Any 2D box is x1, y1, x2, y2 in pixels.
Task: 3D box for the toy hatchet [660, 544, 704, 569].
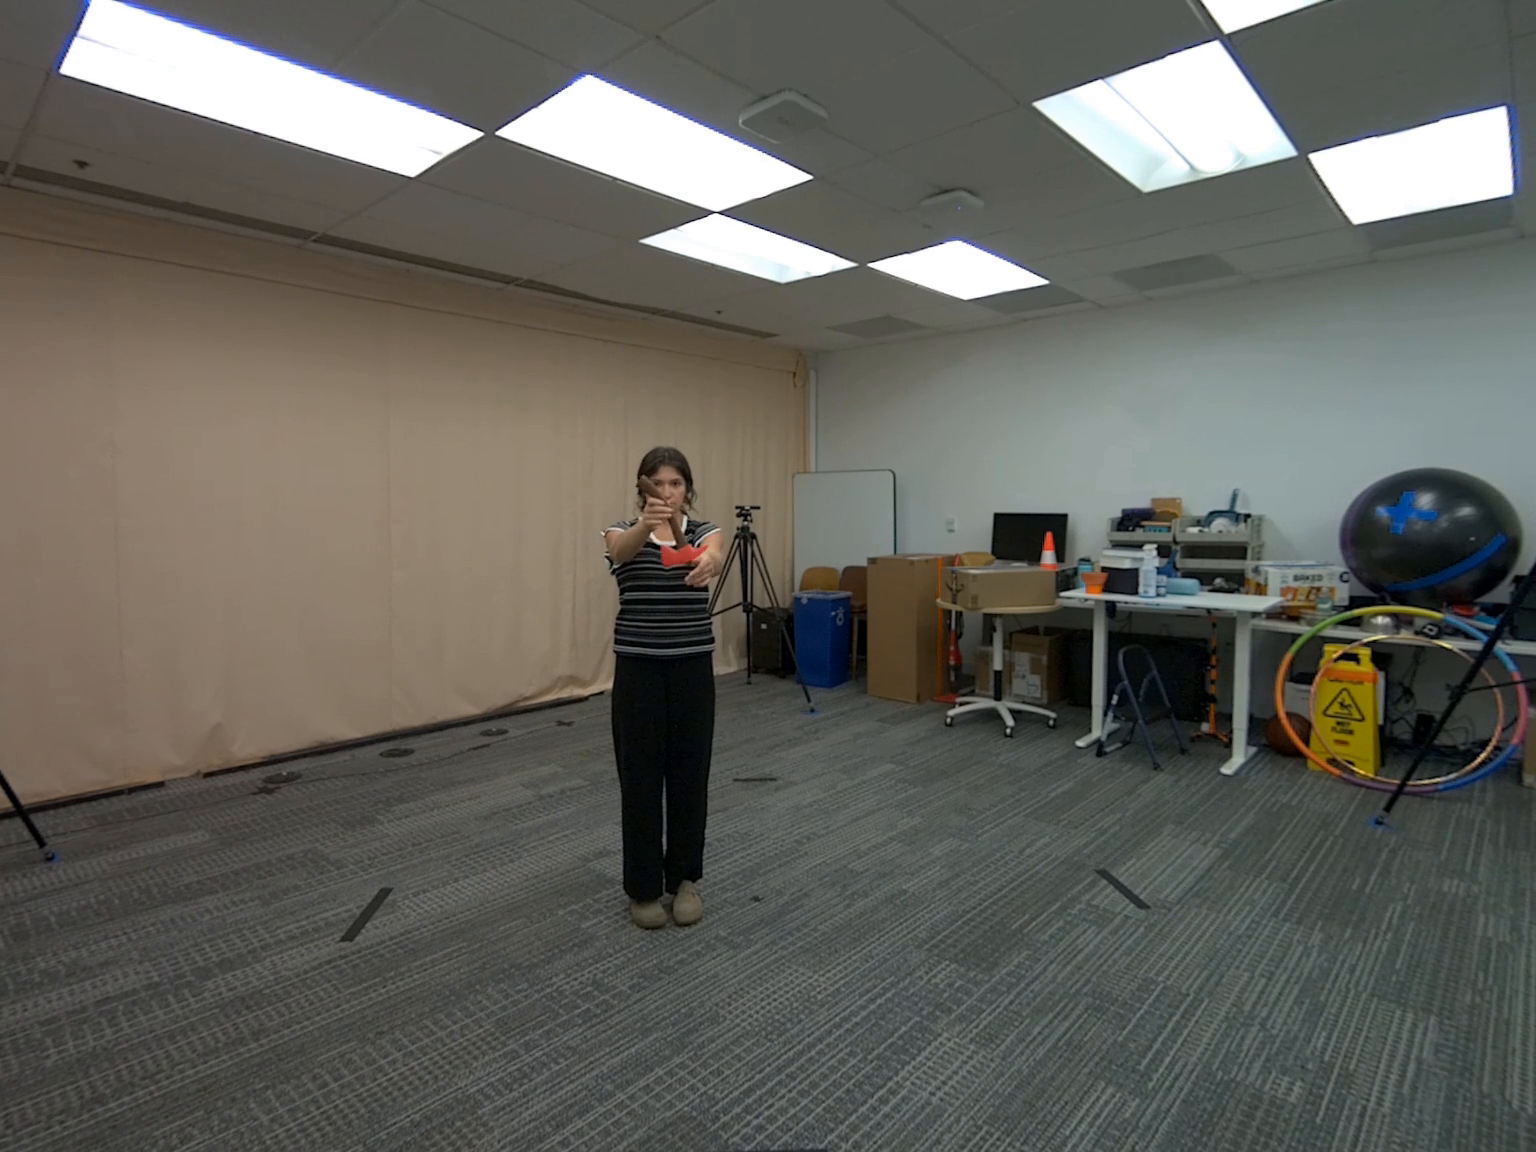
[{"bbox_3d":[-0.287,-0.140,2.310,0.132,0.270,0.029,-40,1,12],"label":"toy hatchet"}]
